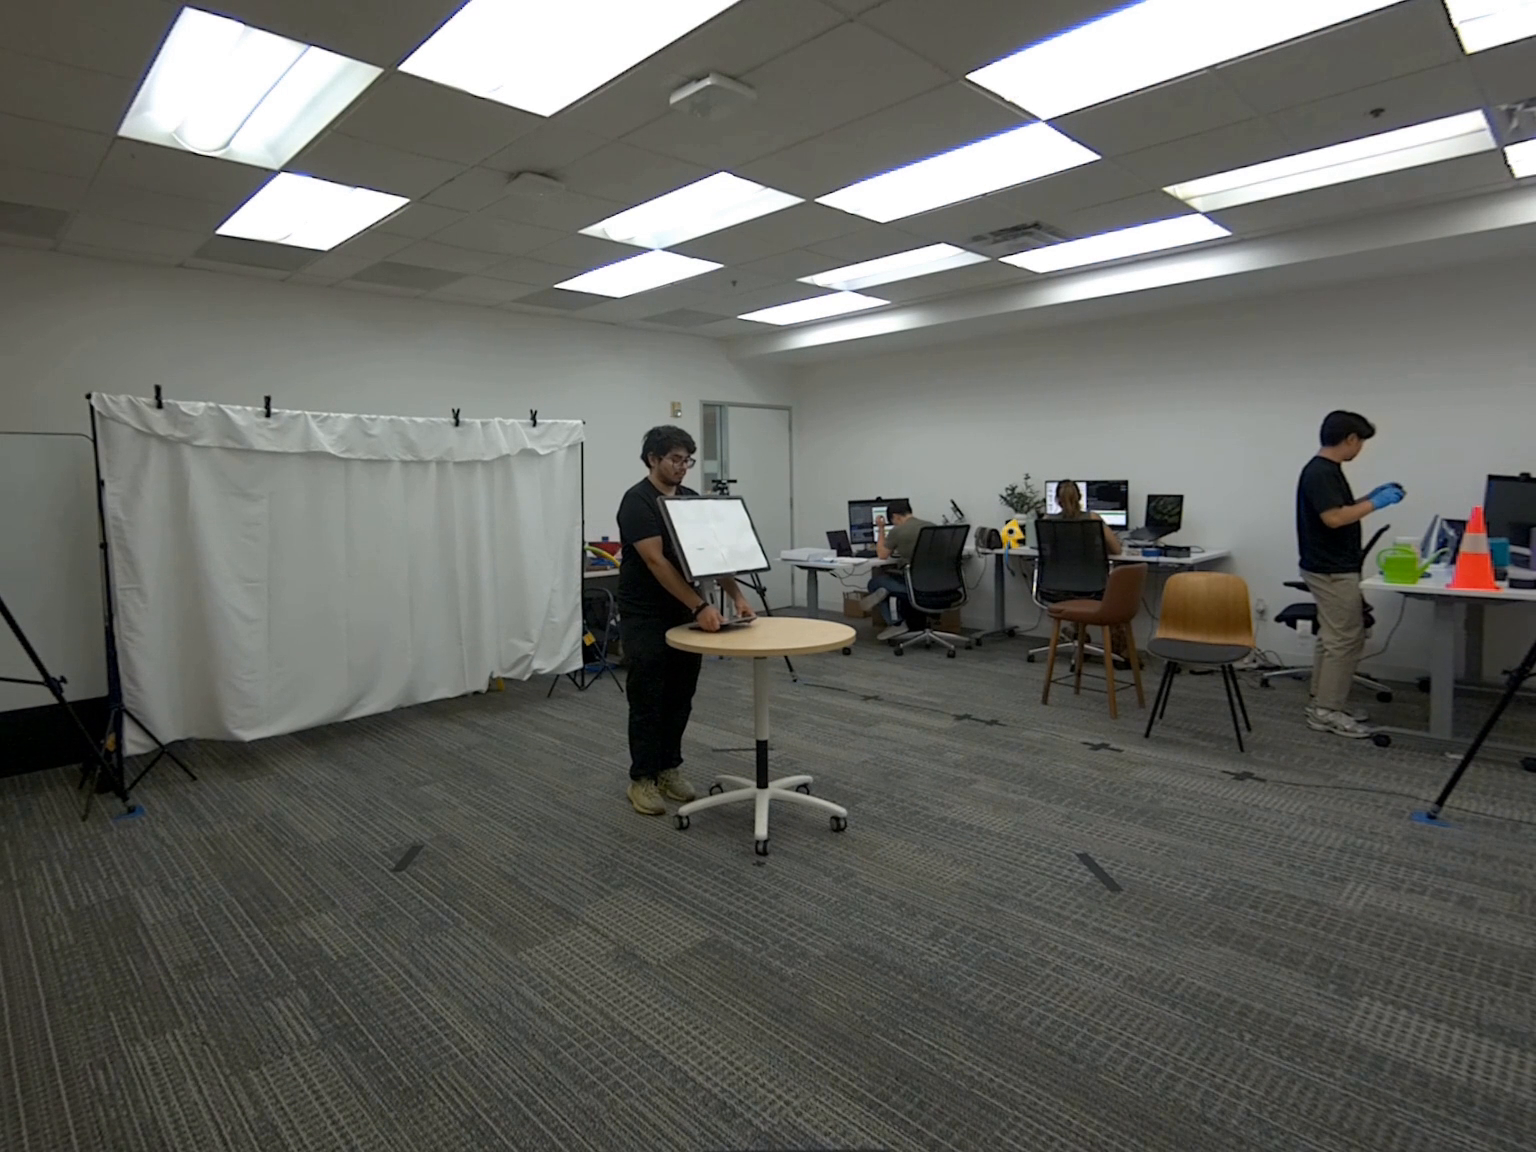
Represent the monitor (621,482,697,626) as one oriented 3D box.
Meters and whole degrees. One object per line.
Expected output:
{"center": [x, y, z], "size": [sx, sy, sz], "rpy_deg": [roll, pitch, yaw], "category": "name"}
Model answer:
{"center": [-0.243, -0.060, 3.598], "size": [0.213, 0.559, 0.551], "rpy_deg": [-22, -10, 36], "category": "monitor"}
